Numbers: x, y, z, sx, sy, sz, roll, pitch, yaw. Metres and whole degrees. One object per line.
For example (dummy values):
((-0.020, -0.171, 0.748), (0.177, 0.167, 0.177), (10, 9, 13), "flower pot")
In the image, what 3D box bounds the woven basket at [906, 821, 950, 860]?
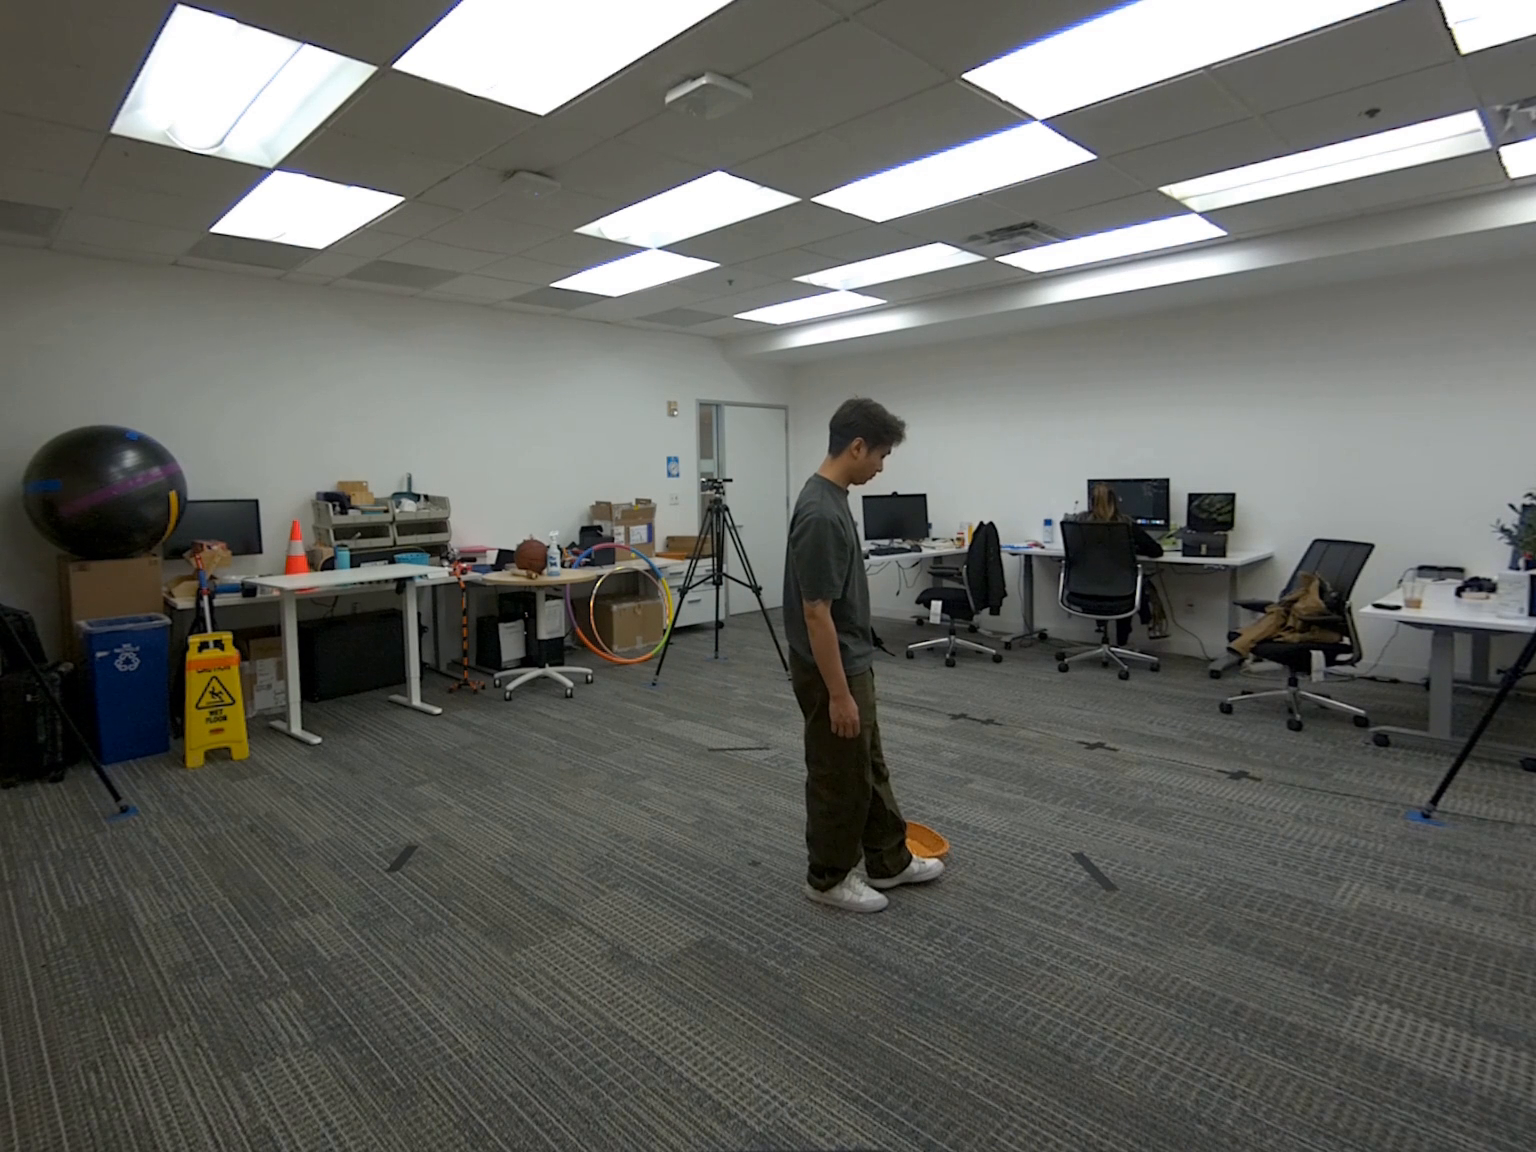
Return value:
((0.516, 0.991, 3.143), (0.249, 0.073, 0.357), (-3, 5, -17), "woven basket")
